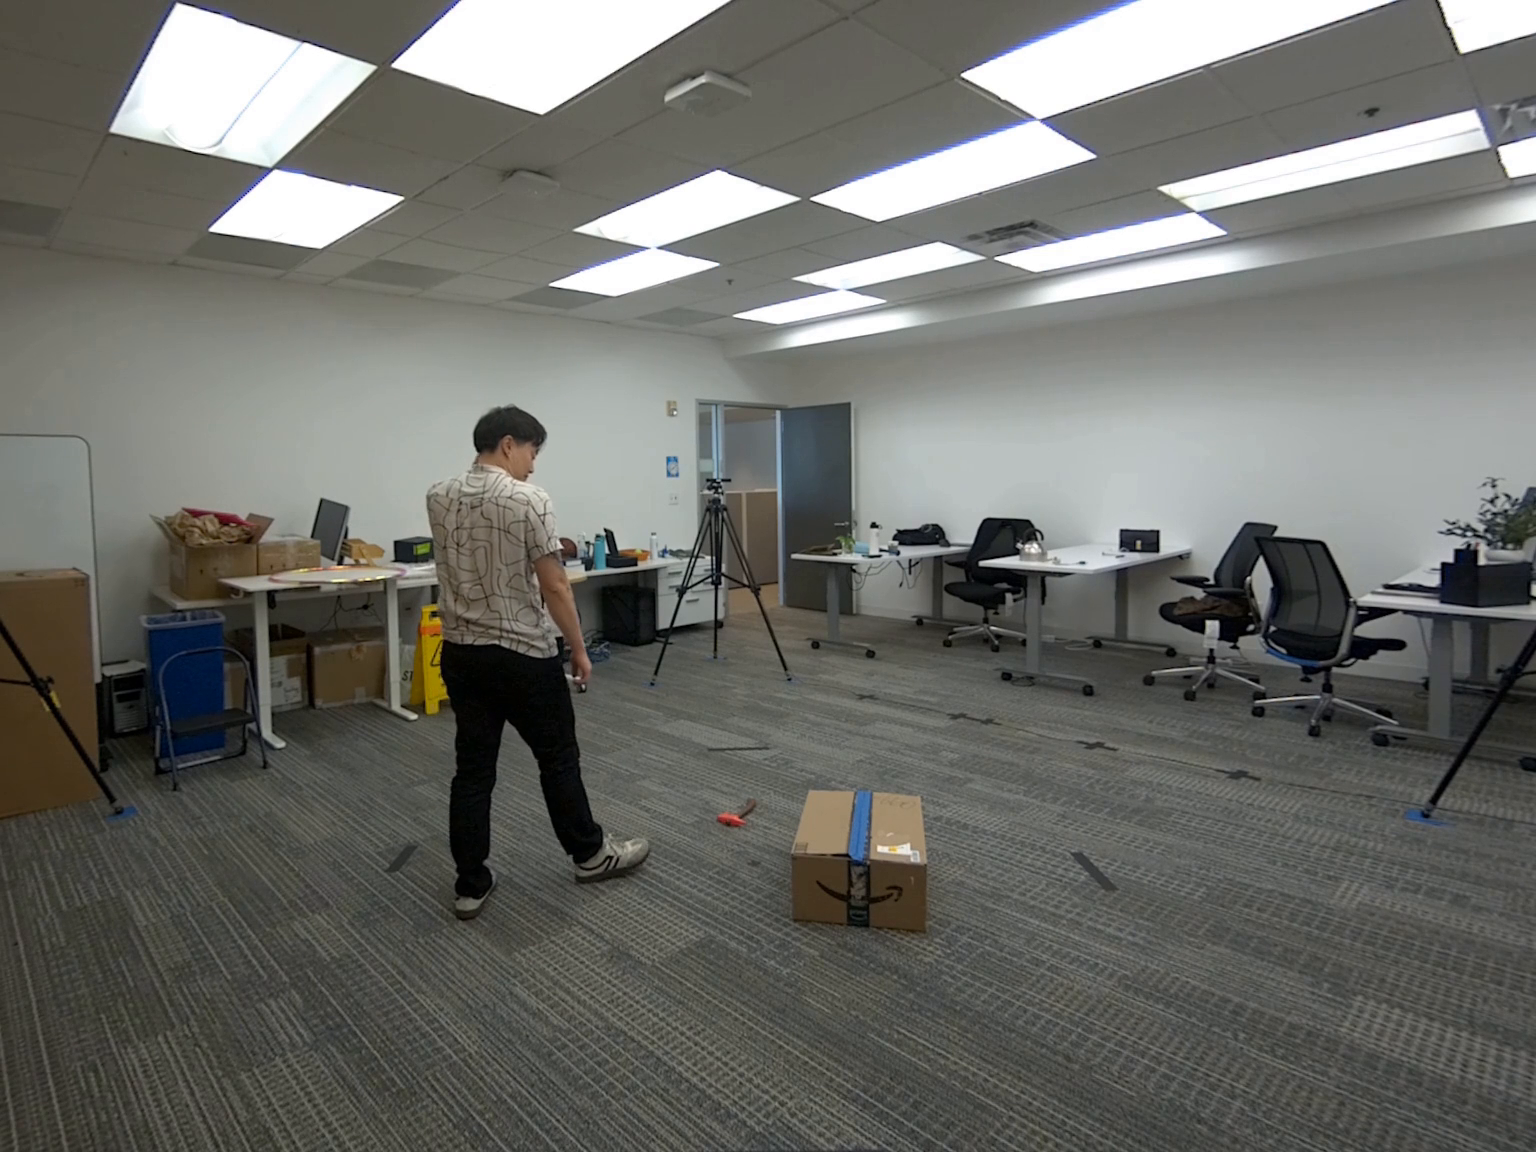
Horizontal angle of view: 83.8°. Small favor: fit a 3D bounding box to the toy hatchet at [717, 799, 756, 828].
[{"bbox_3d":[-0.133,0.982,3.568,0.132,0.029,0.268,-3,5,10],"label":"toy hatchet"}]
